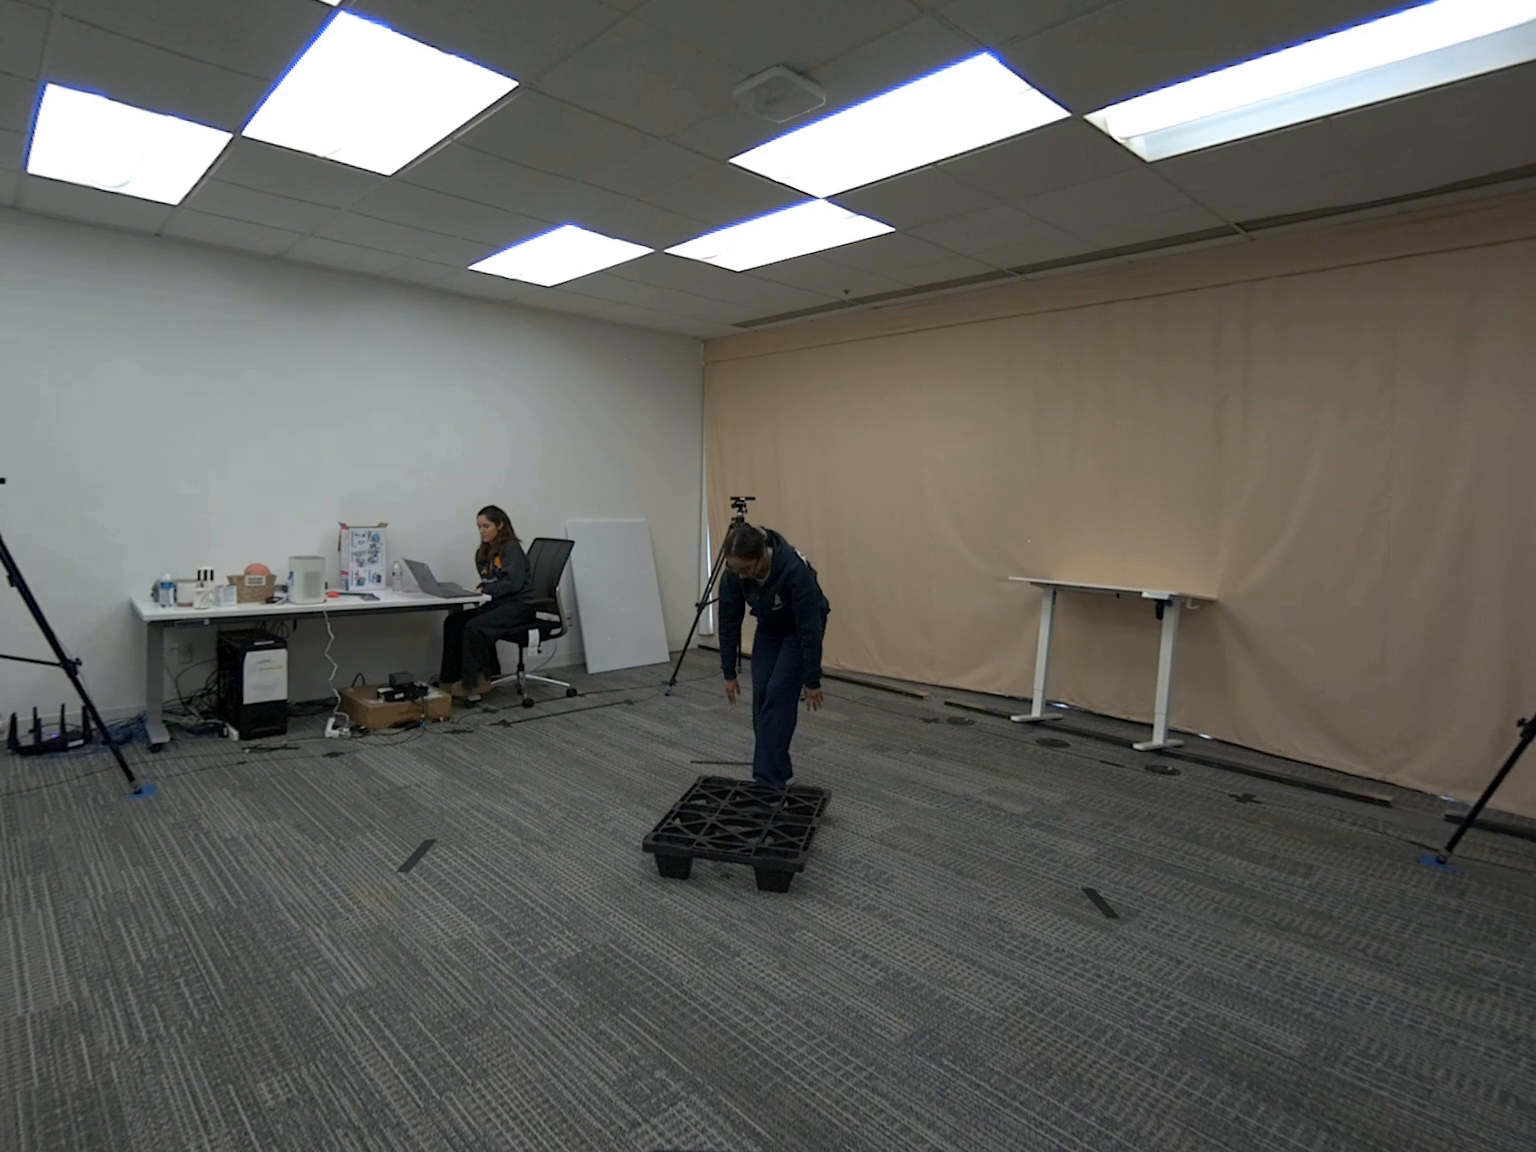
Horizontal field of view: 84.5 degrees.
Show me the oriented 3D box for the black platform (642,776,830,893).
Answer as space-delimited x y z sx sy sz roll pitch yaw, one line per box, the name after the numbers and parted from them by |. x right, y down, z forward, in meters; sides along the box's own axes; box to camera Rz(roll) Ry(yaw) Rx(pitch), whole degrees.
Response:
-0.099 1.014 3.381 0.611 0.143 0.799 3 5 12 | black platform
